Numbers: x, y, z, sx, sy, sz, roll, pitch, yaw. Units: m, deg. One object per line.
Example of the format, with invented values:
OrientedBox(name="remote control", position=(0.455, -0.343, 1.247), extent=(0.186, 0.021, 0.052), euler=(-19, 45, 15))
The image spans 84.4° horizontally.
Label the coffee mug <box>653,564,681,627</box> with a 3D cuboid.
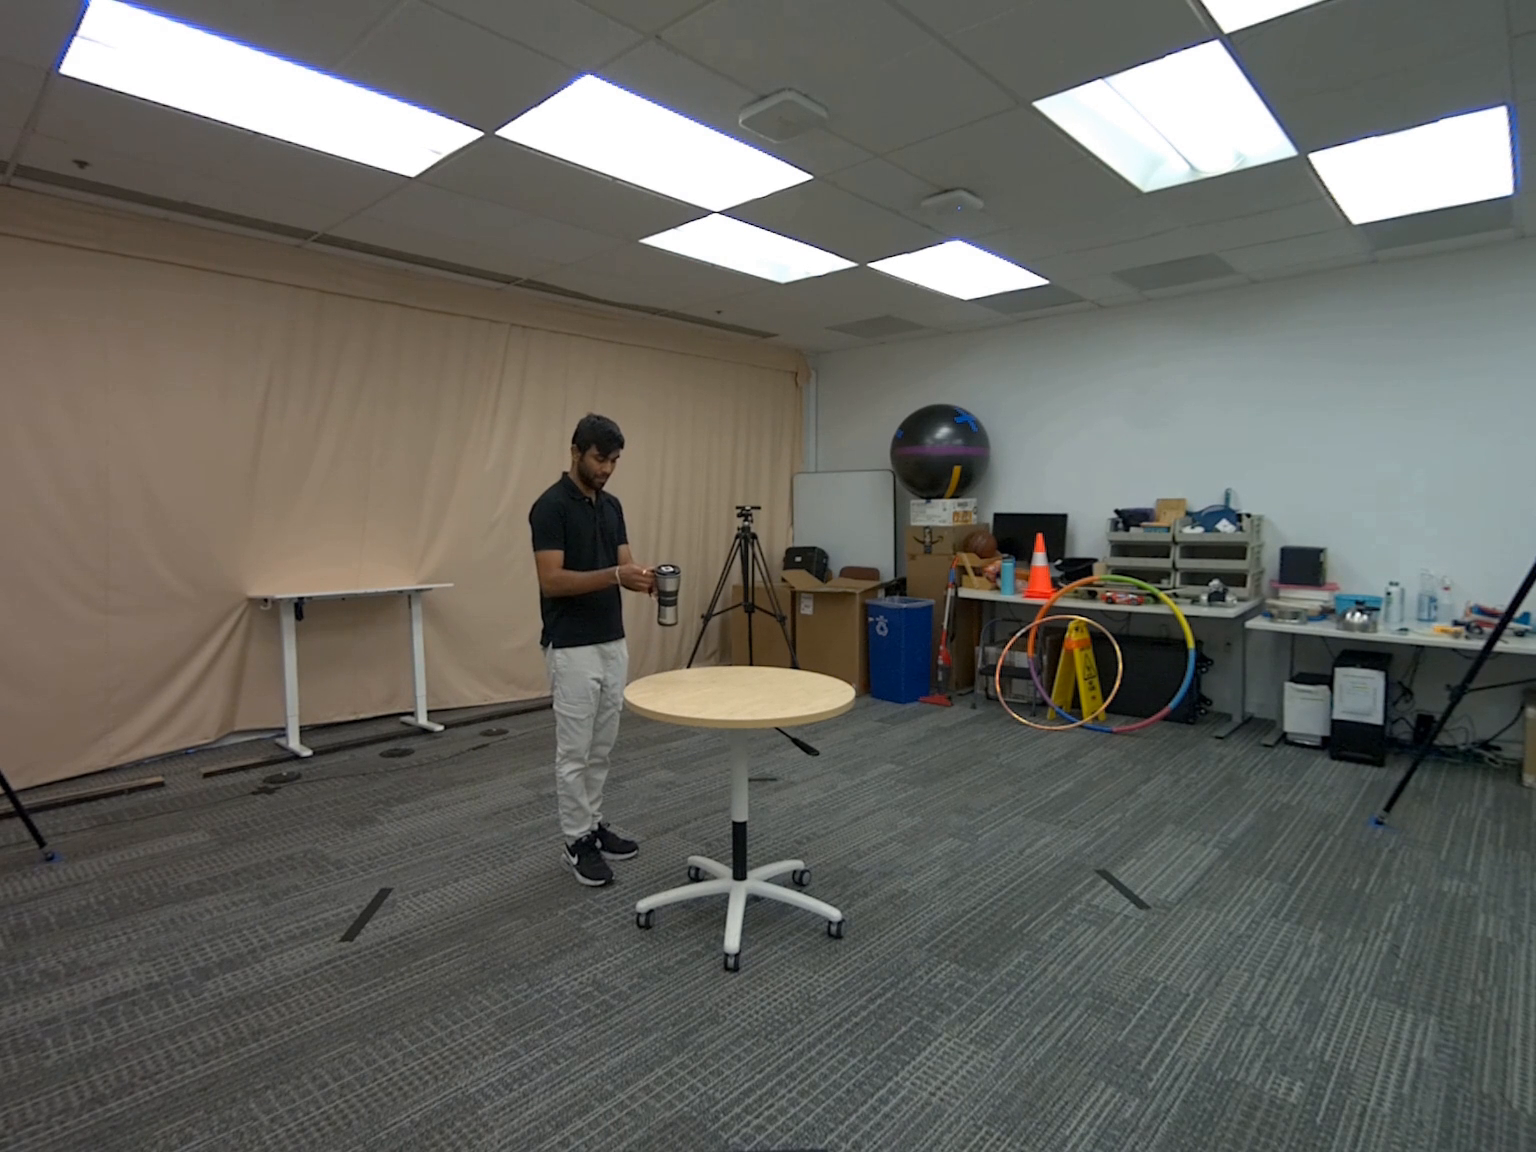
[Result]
OrientedBox(name="coffee mug", position=(-0.365, 0.073, 2.944), extent=(0.123, 0.201, 0.087), euler=(6, 16, 10))
